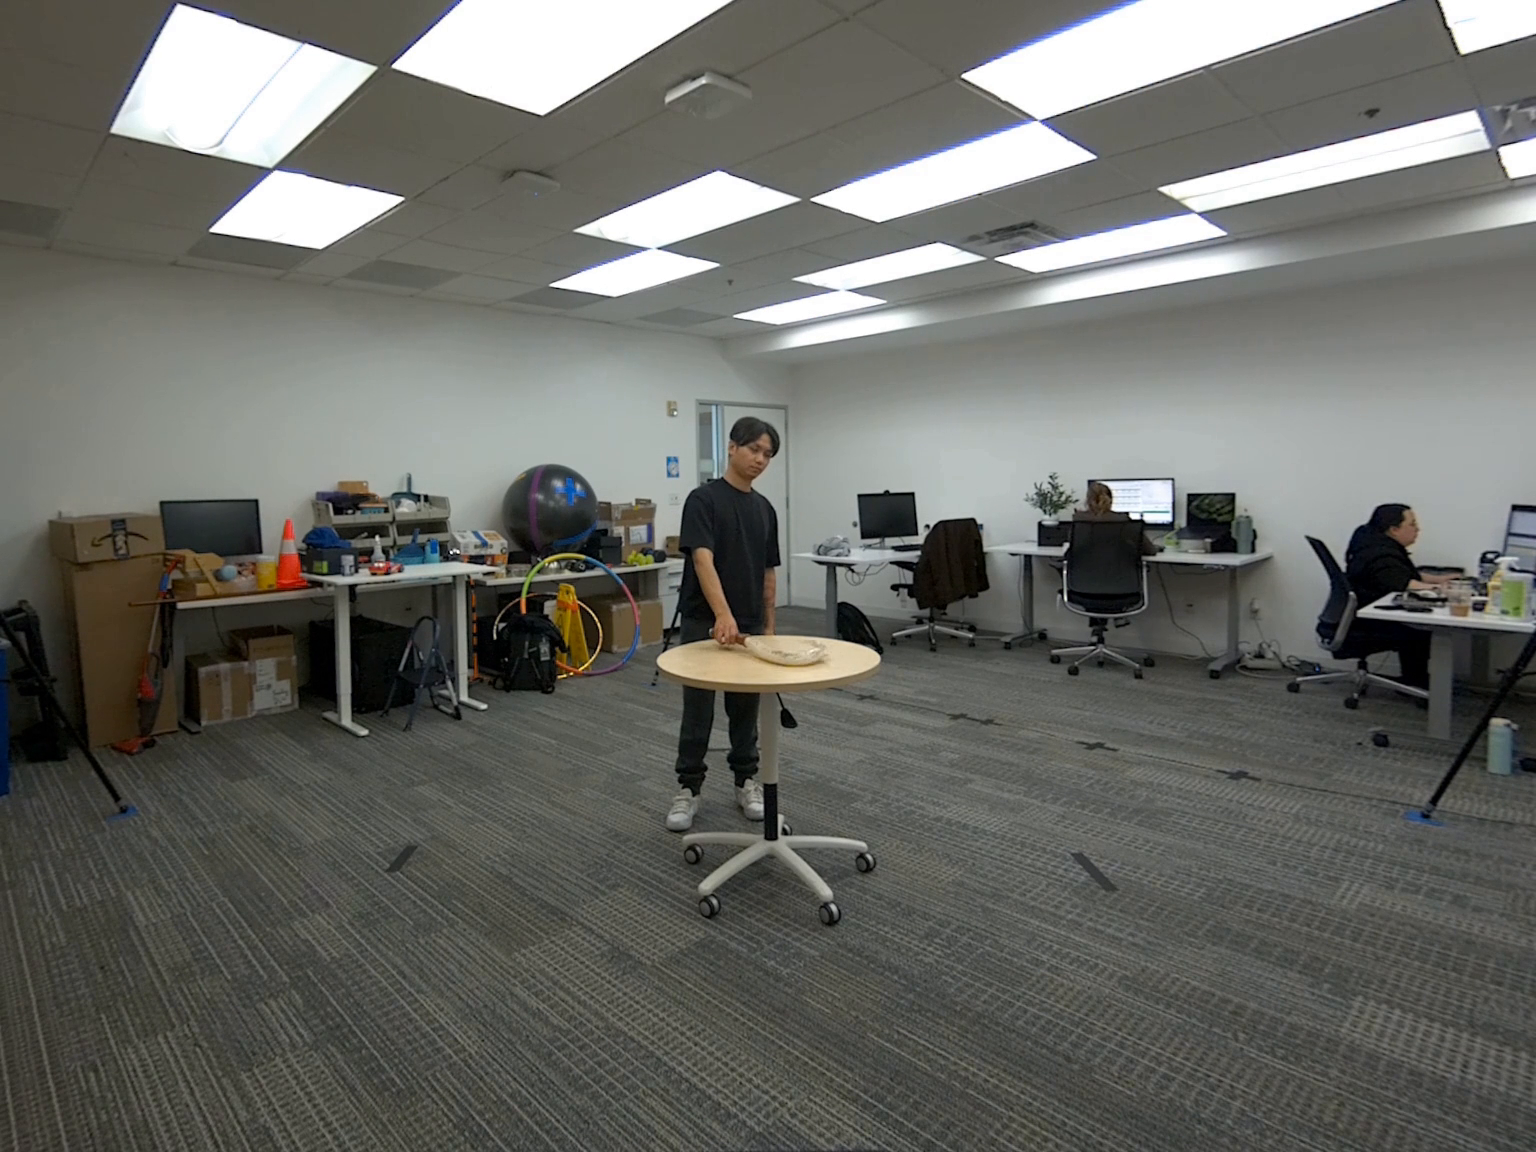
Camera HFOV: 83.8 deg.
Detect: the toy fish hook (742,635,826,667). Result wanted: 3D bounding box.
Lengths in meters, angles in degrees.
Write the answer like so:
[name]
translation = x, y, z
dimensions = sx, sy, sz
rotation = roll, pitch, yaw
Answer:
[toy fish hook]
translation = 0.004, 0.240, 3.004
dimensions = 0.219, 0.048, 0.524
rotation = -8, 14, -37
